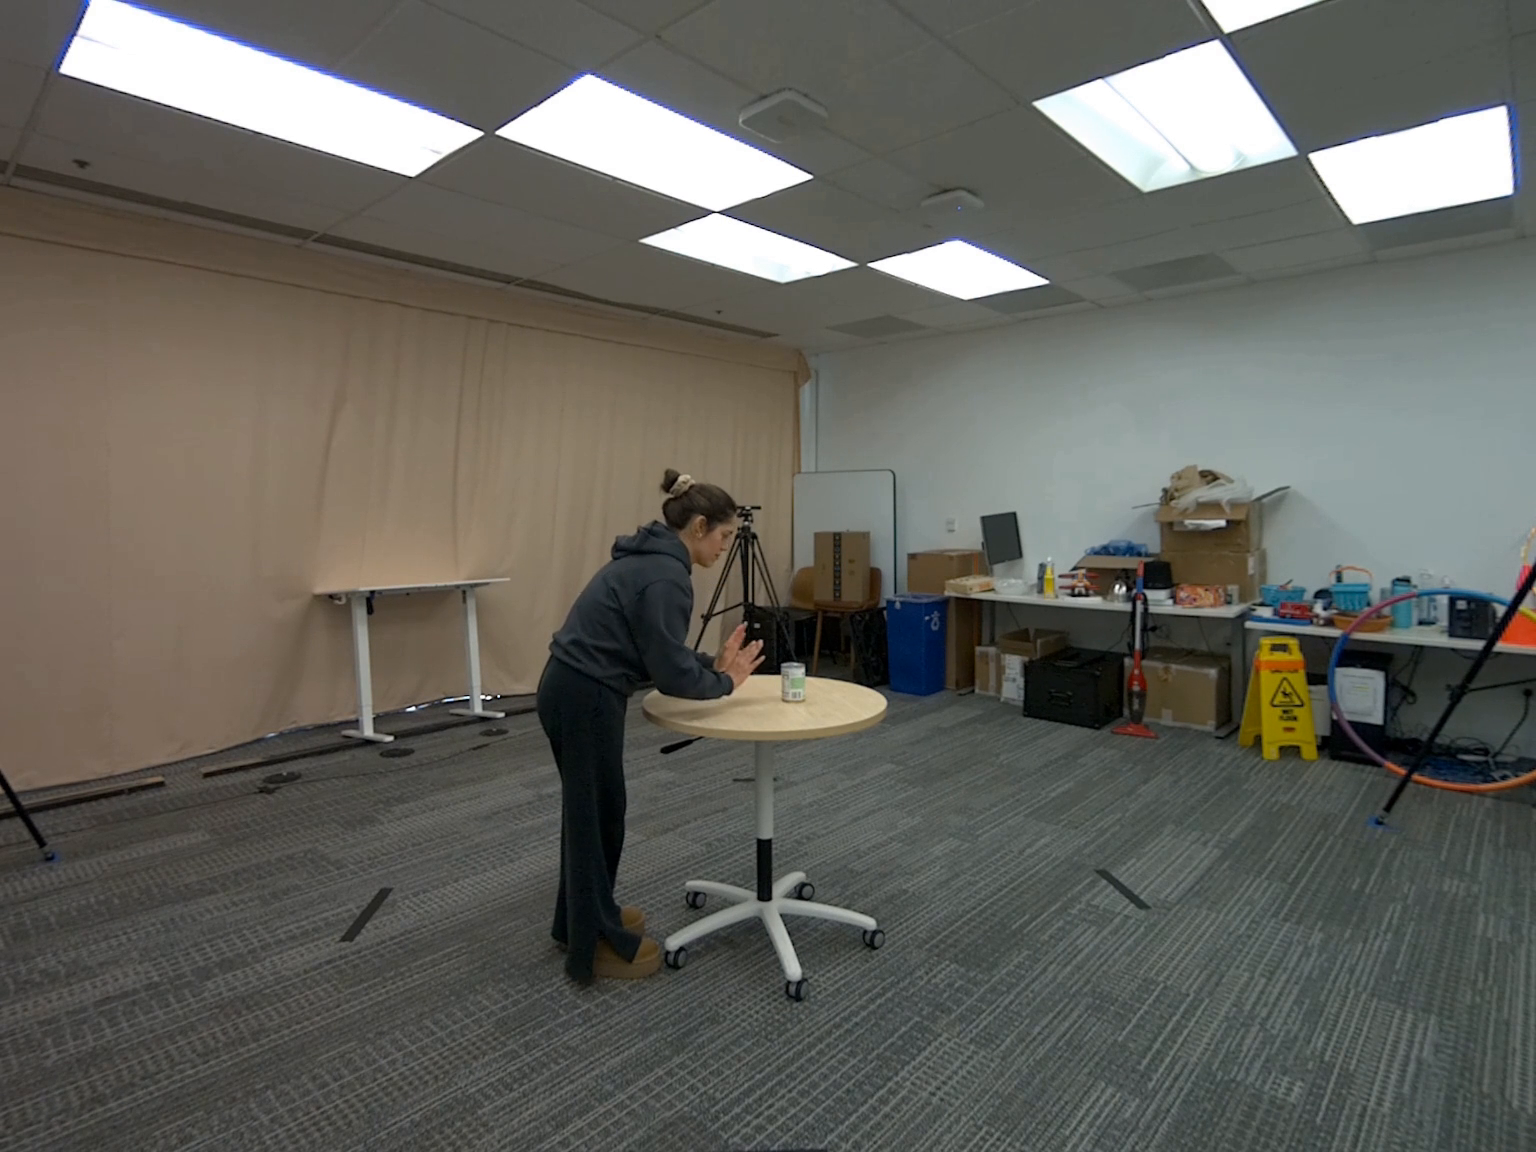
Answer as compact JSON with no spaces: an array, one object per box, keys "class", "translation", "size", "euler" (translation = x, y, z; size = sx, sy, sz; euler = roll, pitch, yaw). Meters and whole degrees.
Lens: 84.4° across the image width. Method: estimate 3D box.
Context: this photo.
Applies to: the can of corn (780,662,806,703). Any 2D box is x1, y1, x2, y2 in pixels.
[{"class":"can of corn","translation":[0.091,0.334,2.611],"size":[0.074,0.111,0.074],"euler":[-1,5,-2]}]
